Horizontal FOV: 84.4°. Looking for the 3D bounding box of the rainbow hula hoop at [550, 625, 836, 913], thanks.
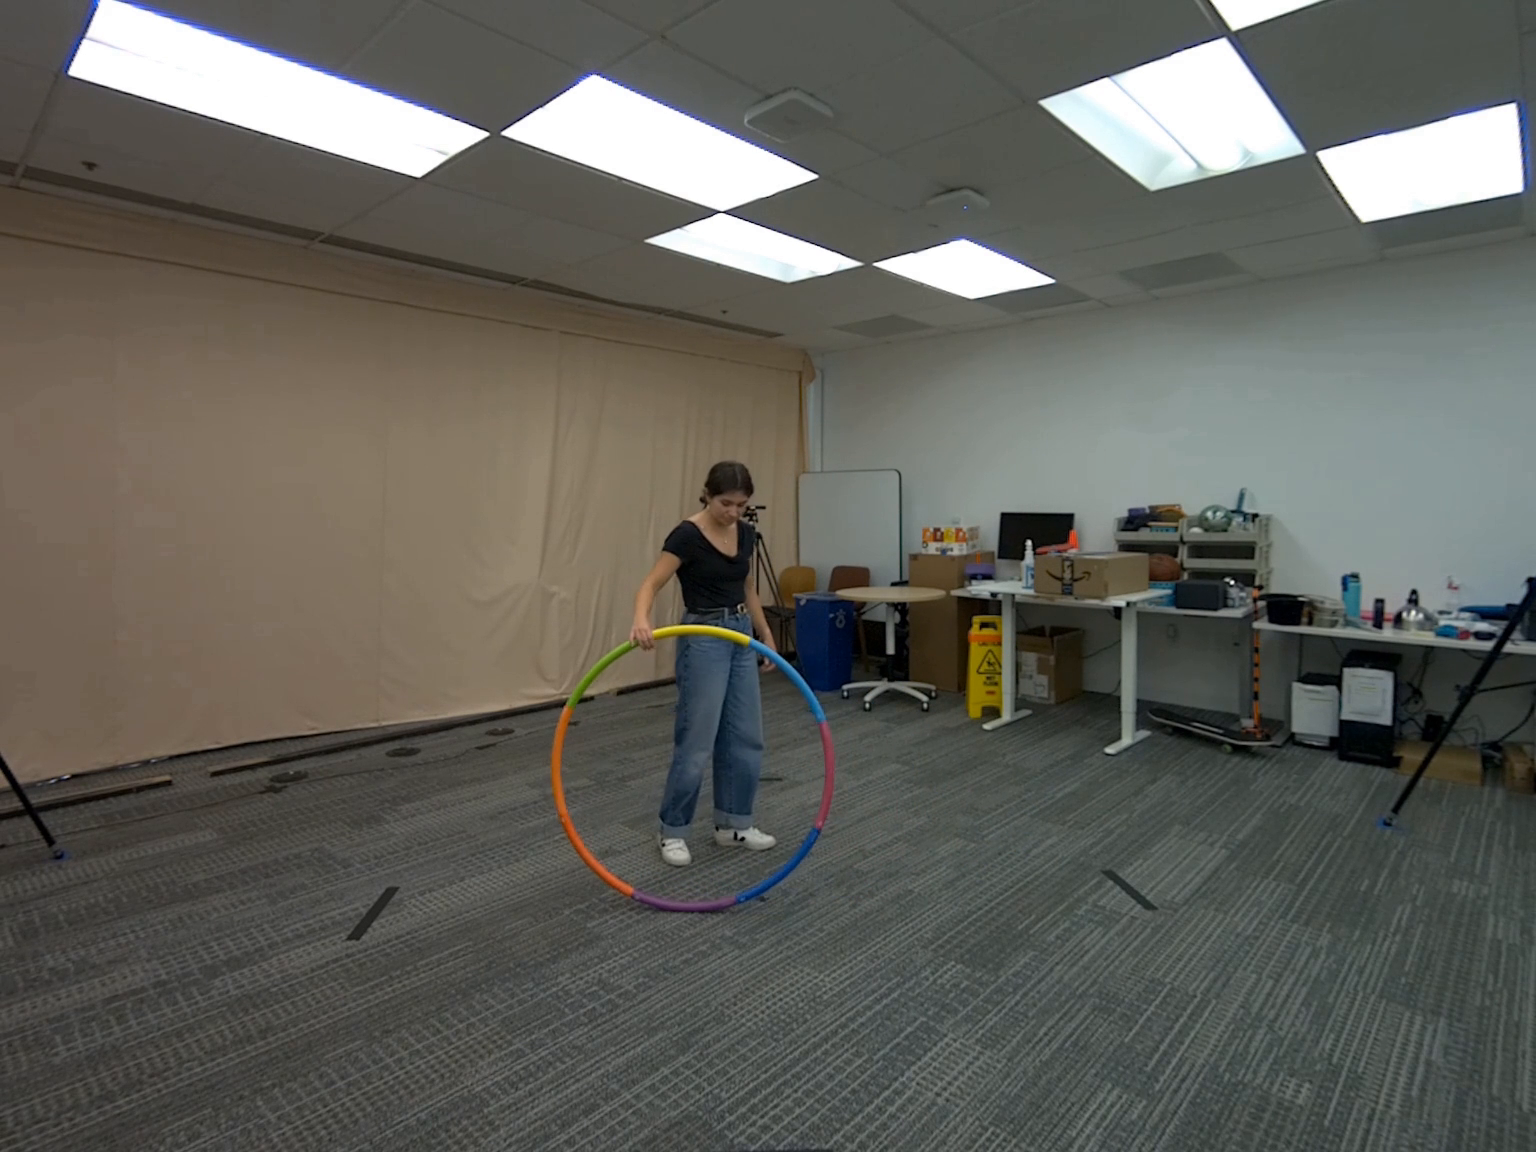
[{"bbox_3d":[-0.251,0.665,2.930,0.983,0.981,0.035,0,-4,4],"label":"rainbow hula hoop"}]
